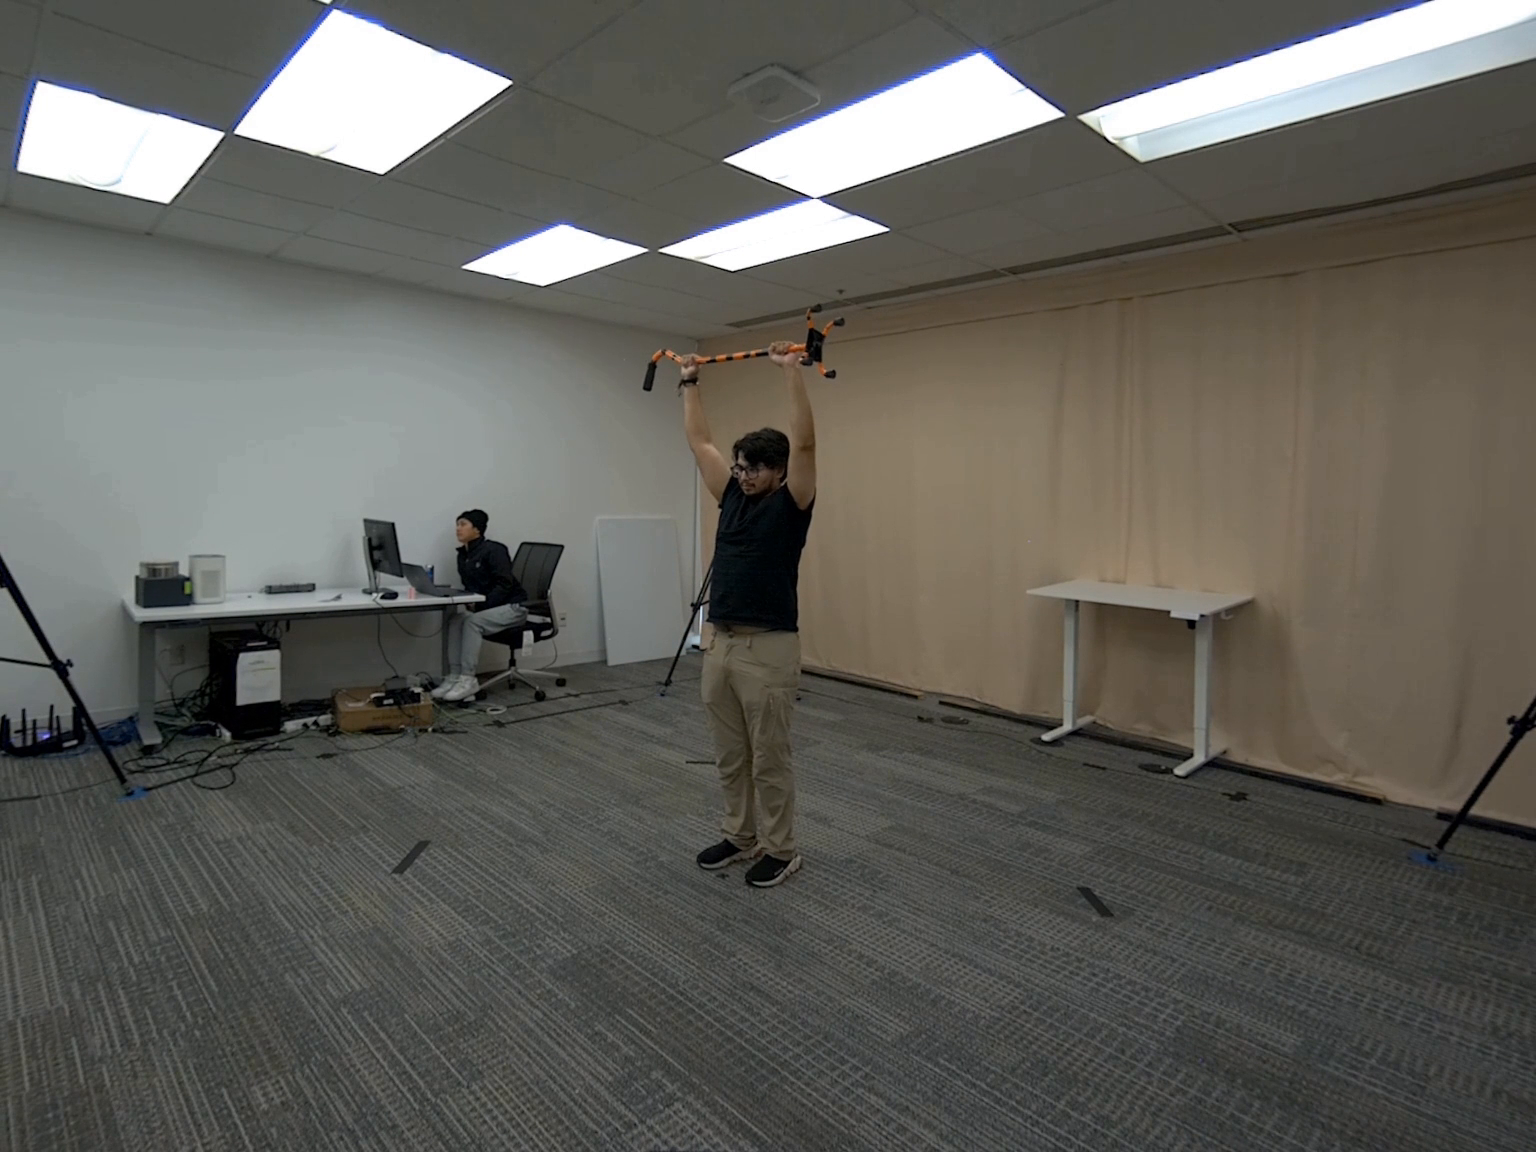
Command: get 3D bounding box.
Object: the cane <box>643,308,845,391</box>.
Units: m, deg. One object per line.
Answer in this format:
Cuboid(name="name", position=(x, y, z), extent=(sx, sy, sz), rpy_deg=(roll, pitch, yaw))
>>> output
Cuboid(name="cane", position=(-0.147, -0.793, 3.019), extent=(0.932, 0.207, 0.147), rpy_deg=(7, -6, 44))
